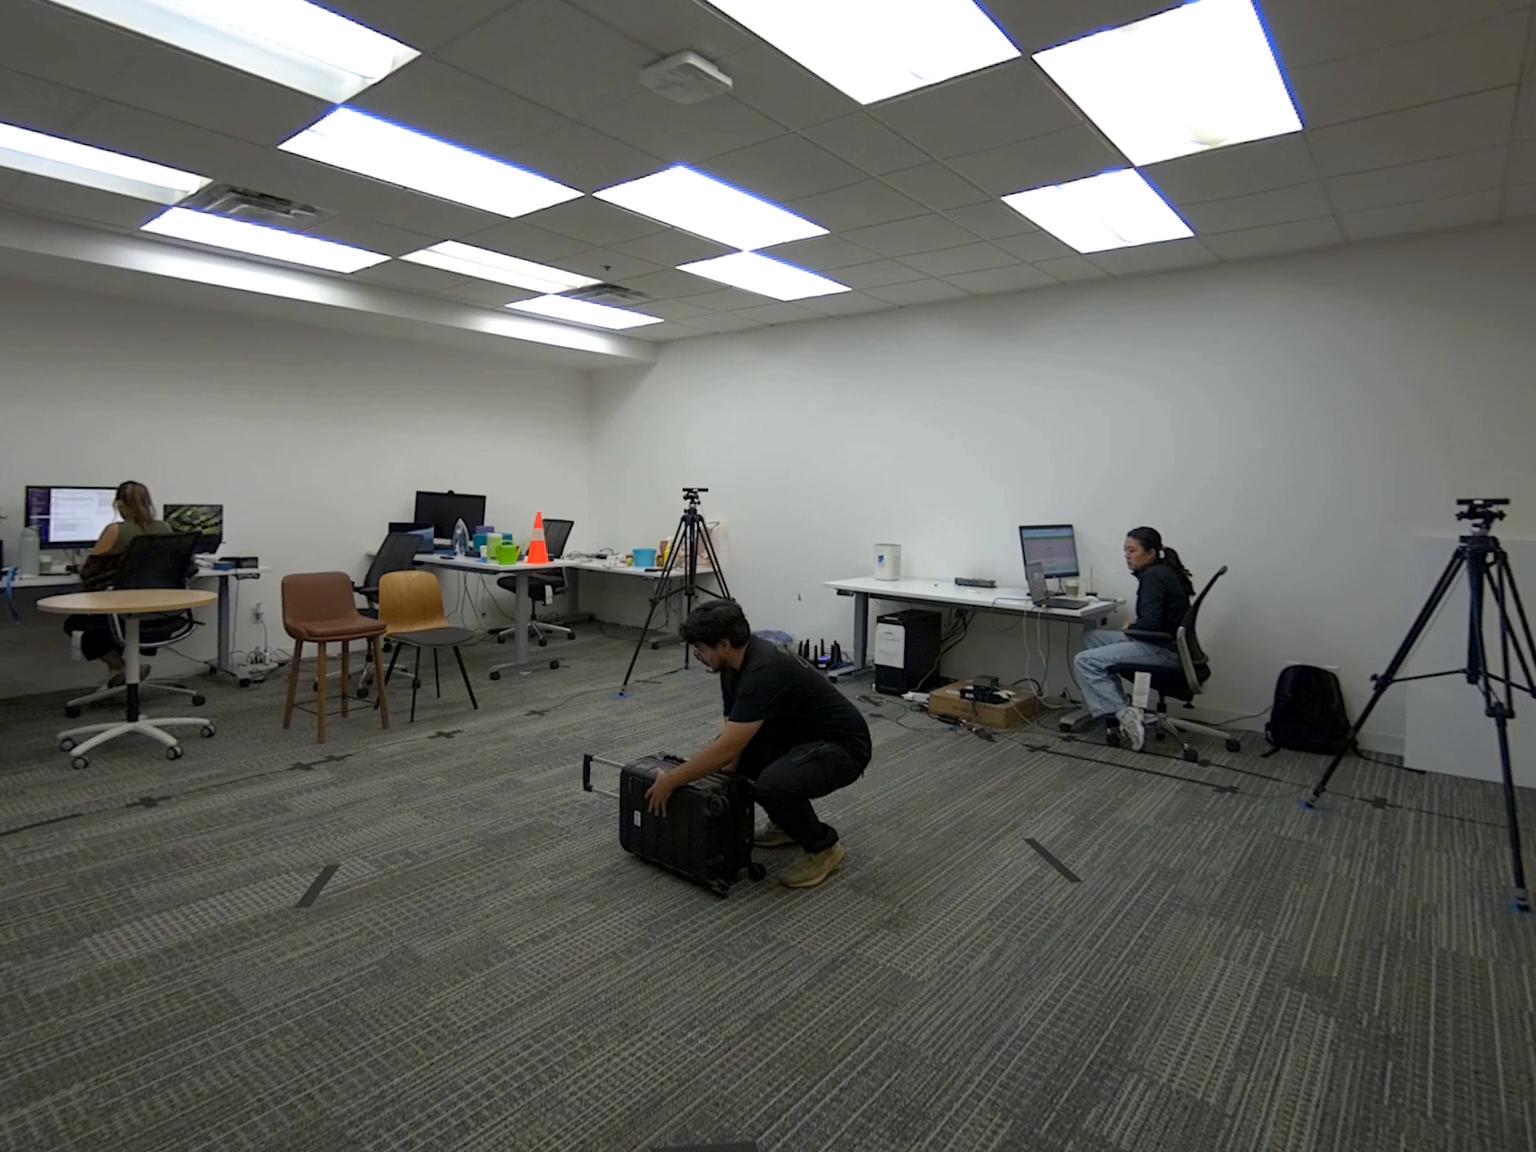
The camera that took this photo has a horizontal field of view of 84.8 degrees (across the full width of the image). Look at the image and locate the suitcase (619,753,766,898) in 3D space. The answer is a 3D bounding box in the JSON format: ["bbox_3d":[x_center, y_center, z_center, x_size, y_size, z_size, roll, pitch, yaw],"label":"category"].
[{"bbox_3d":[-0.480,0.863,3.257,1.011,0.383,0.249,4,4,39],"label":"suitcase"}]
